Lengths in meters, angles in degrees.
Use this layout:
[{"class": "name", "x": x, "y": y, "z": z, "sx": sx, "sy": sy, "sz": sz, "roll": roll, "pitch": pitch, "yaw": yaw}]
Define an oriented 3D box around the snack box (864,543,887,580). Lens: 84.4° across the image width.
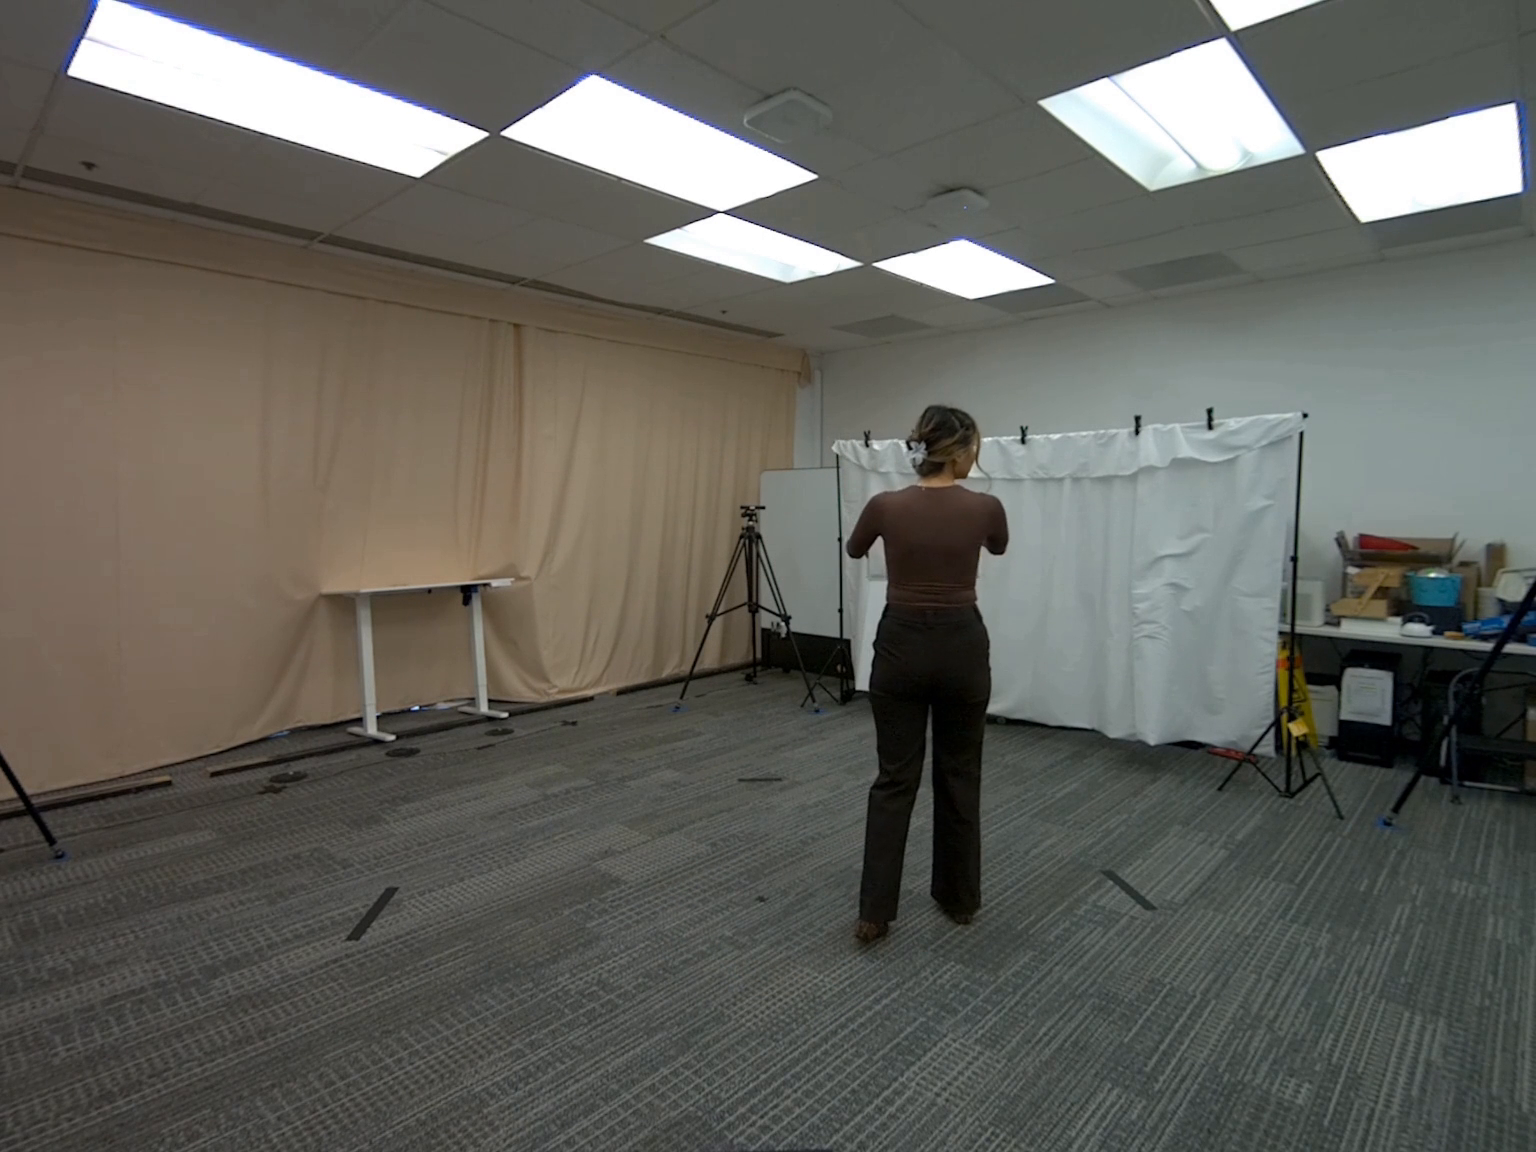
[{"class": "snack box", "x": 0.612, "y": -0.088, "z": 3.339, "sx": 0.409, "sy": 0.205, "sz": 0.338, "roll": -2, "pitch": 1, "yaw": 7}]
